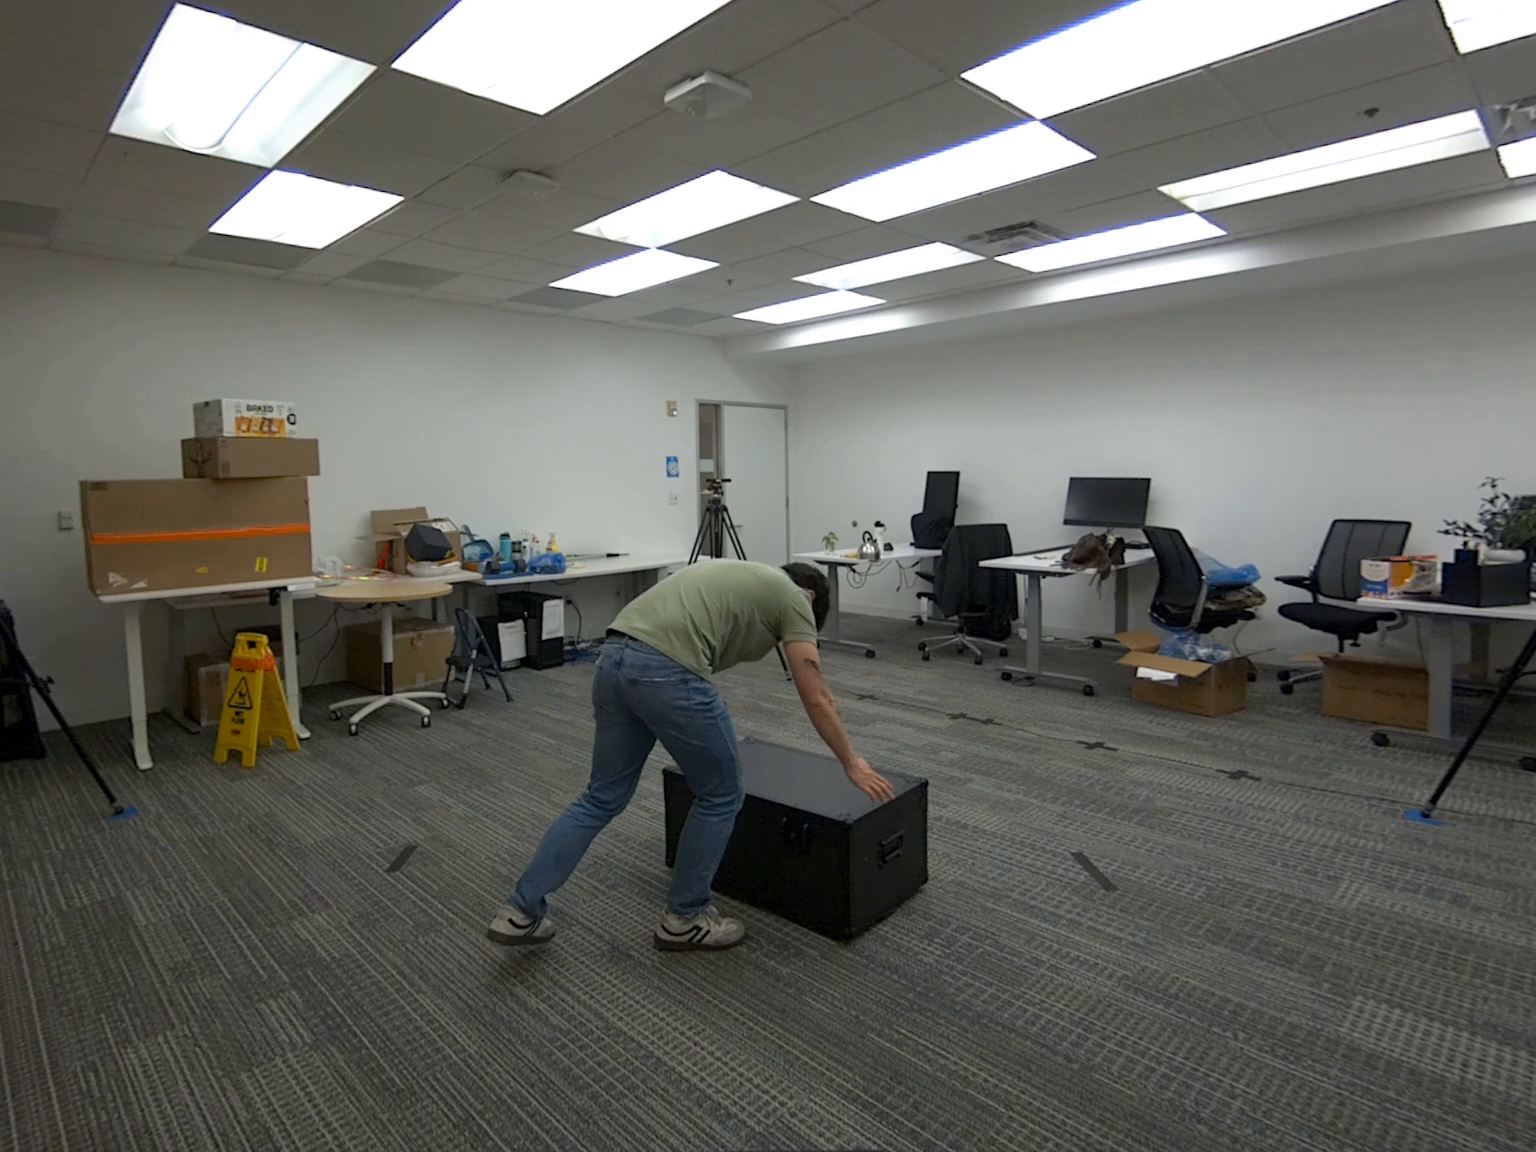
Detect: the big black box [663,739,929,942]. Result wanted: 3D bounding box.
[{"bbox_3d":[0.061,0.867,2.983,0.888,0.394,0.508,5,8,40],"label":"big black box"}]
